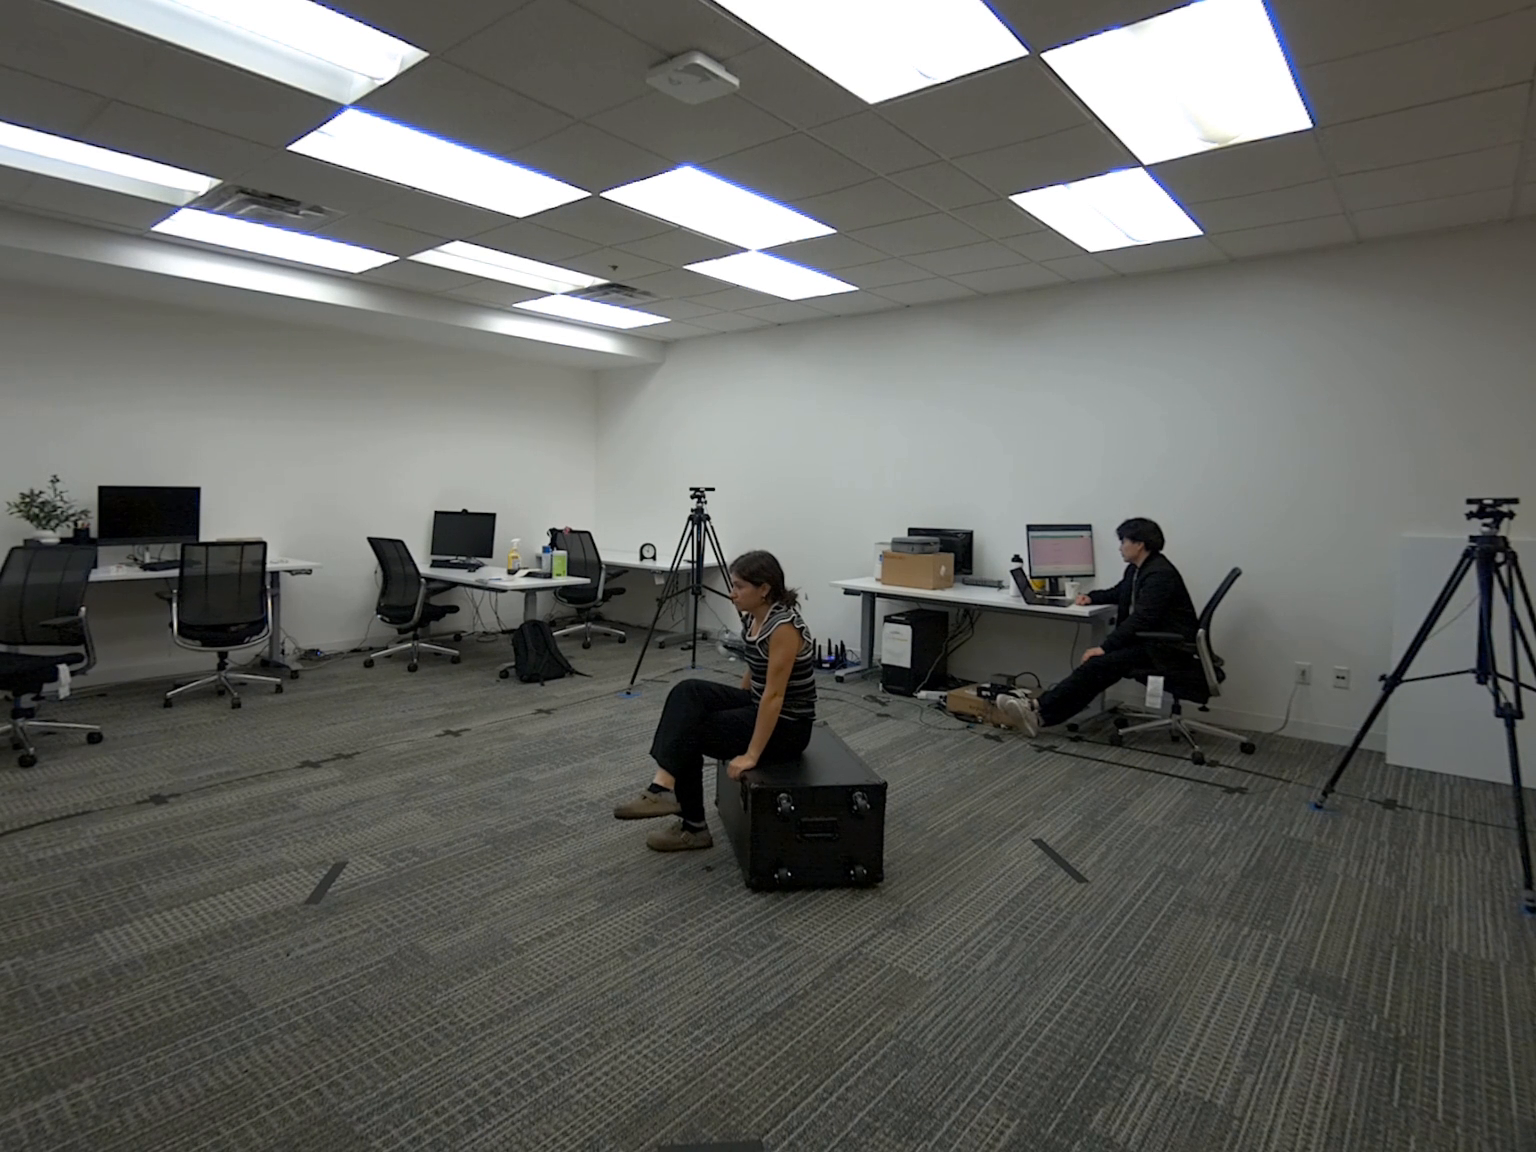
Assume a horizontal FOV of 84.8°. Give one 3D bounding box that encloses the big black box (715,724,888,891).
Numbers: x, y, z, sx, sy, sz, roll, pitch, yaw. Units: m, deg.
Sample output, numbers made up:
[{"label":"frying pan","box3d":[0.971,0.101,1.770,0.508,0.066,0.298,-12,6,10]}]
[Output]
[{"label":"big black box","box3d":[0.088,0.861,3.284,0.515,0.395,0.875,0,5,-12]}]
